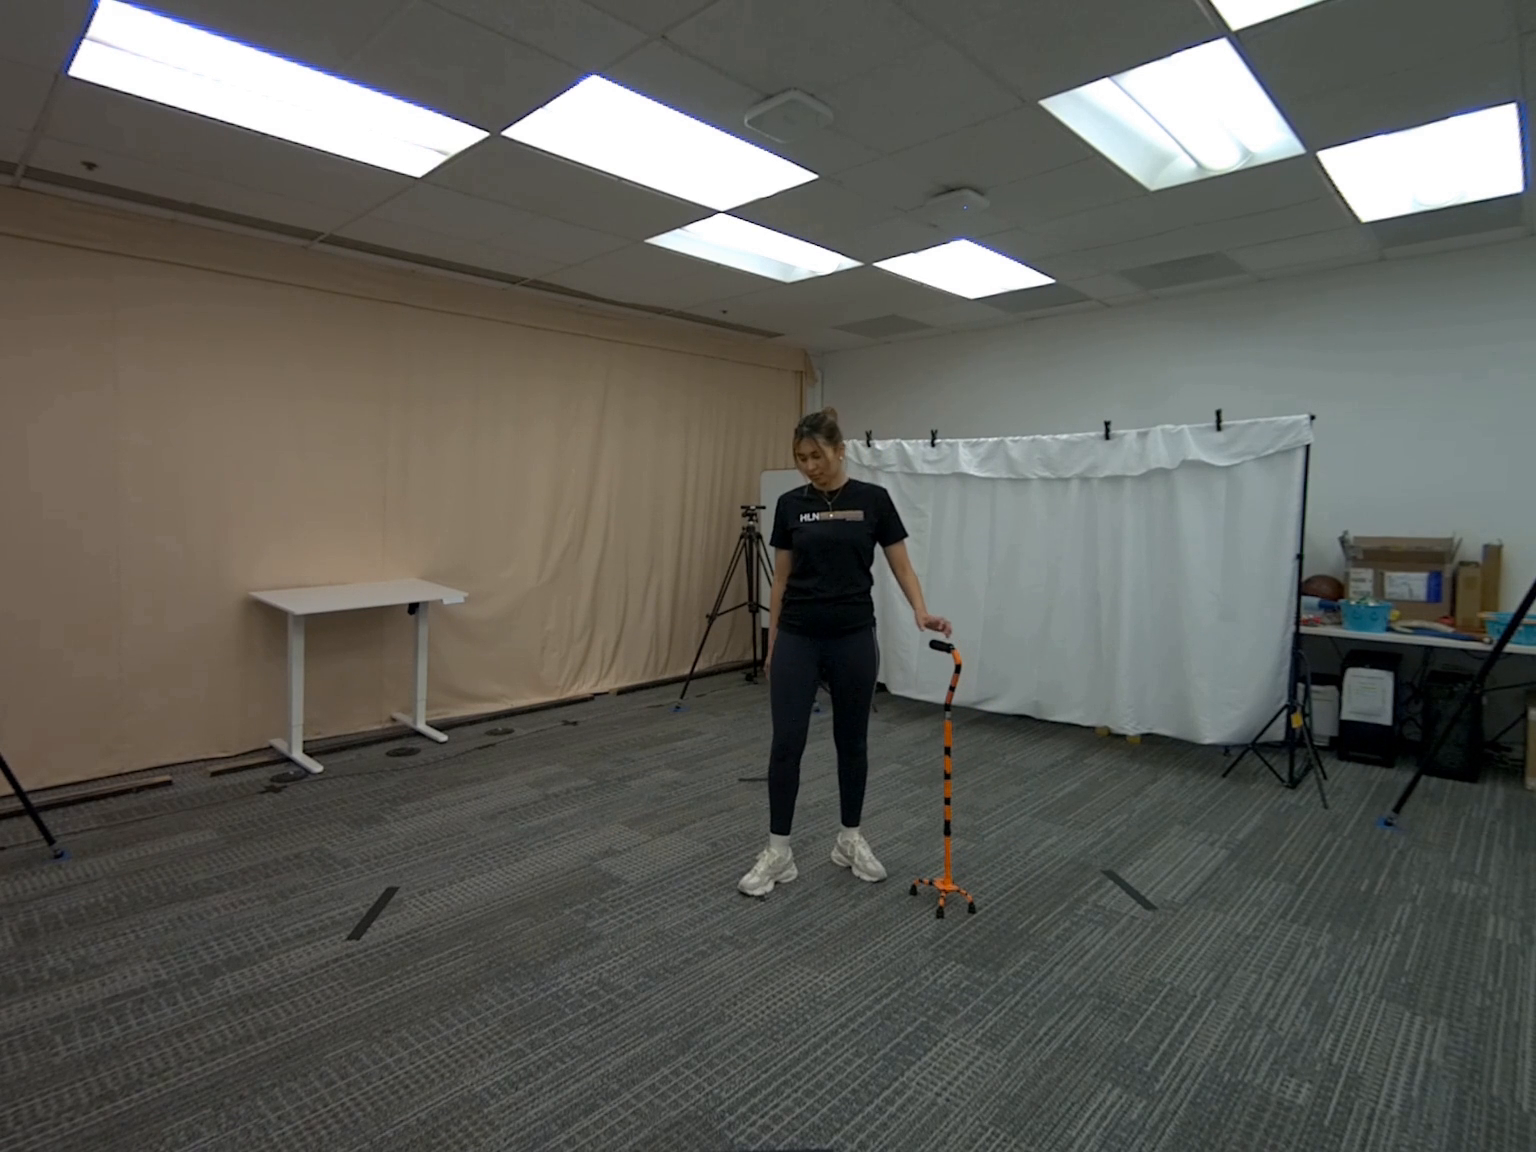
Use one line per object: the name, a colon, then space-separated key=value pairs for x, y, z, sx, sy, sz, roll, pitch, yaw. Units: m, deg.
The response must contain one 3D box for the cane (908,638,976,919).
cane: x=0.616 y=0.691 z=2.928 sx=0.149 sy=0.906 sz=0.211 roll=-1 pitch=3 yaw=-19
